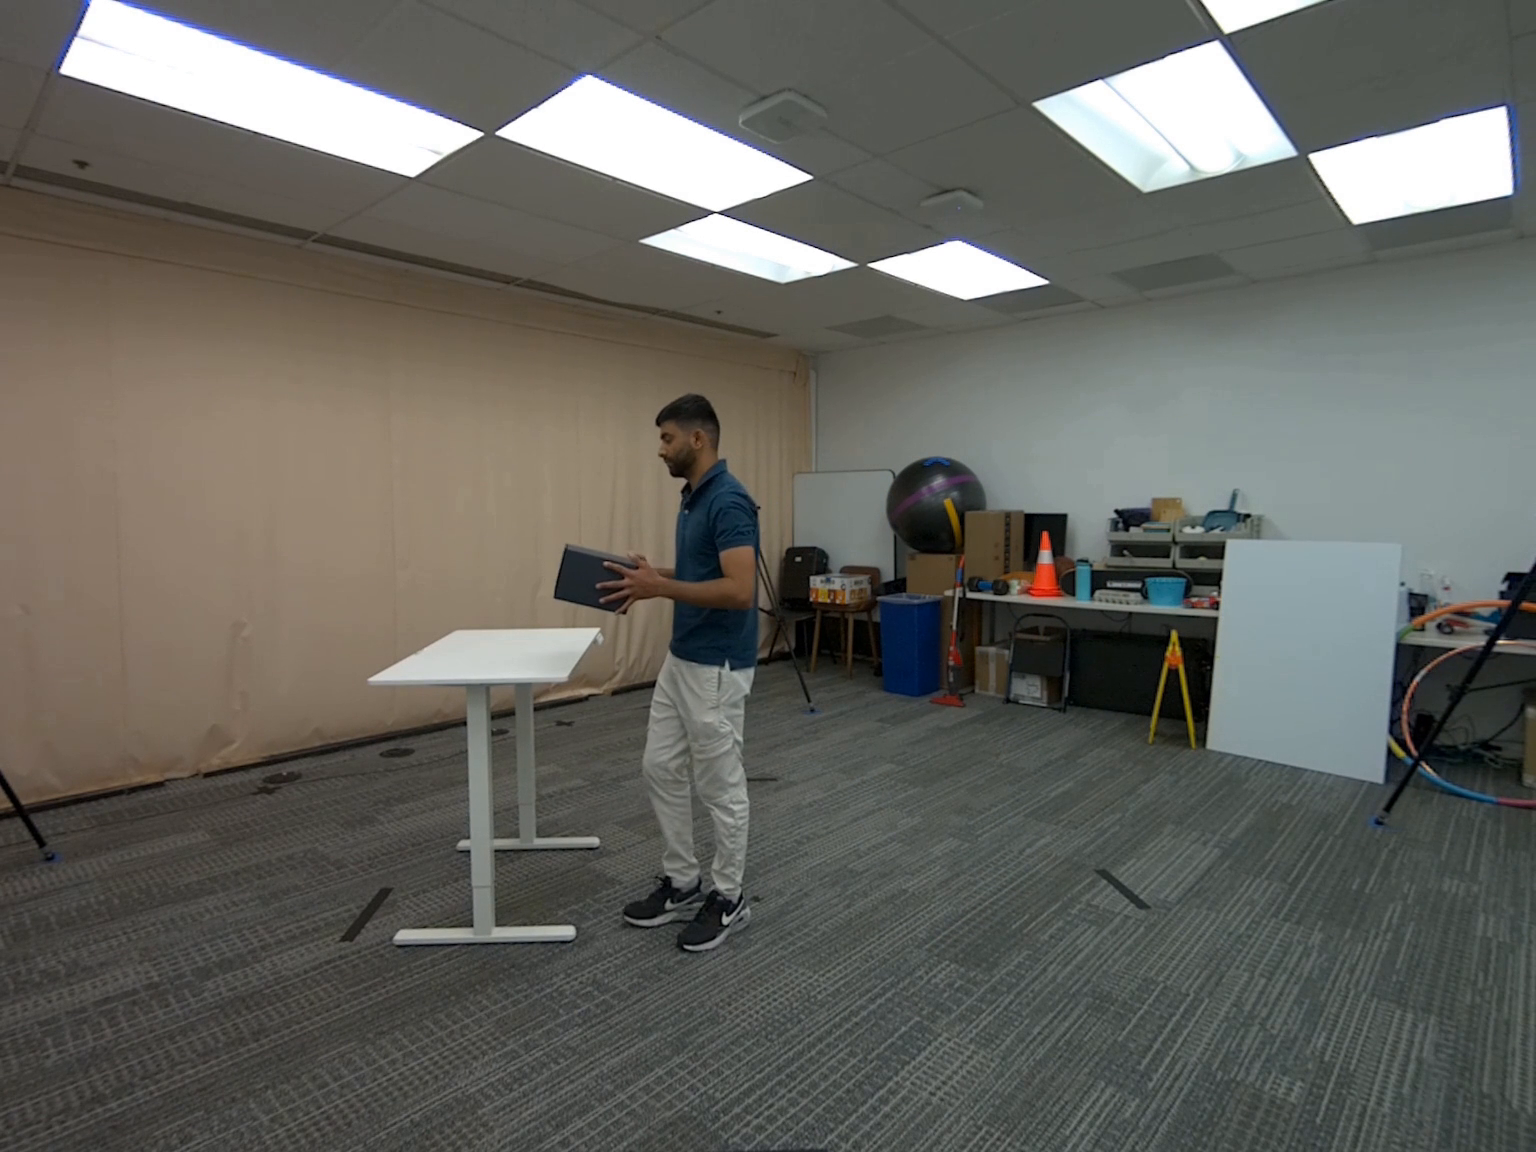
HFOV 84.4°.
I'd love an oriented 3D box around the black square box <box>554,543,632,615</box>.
[{"bbox_3d":[-0.534,0.003,2.641,0.225,0.156,0.220,13,2,-12],"label":"black square box"}]
